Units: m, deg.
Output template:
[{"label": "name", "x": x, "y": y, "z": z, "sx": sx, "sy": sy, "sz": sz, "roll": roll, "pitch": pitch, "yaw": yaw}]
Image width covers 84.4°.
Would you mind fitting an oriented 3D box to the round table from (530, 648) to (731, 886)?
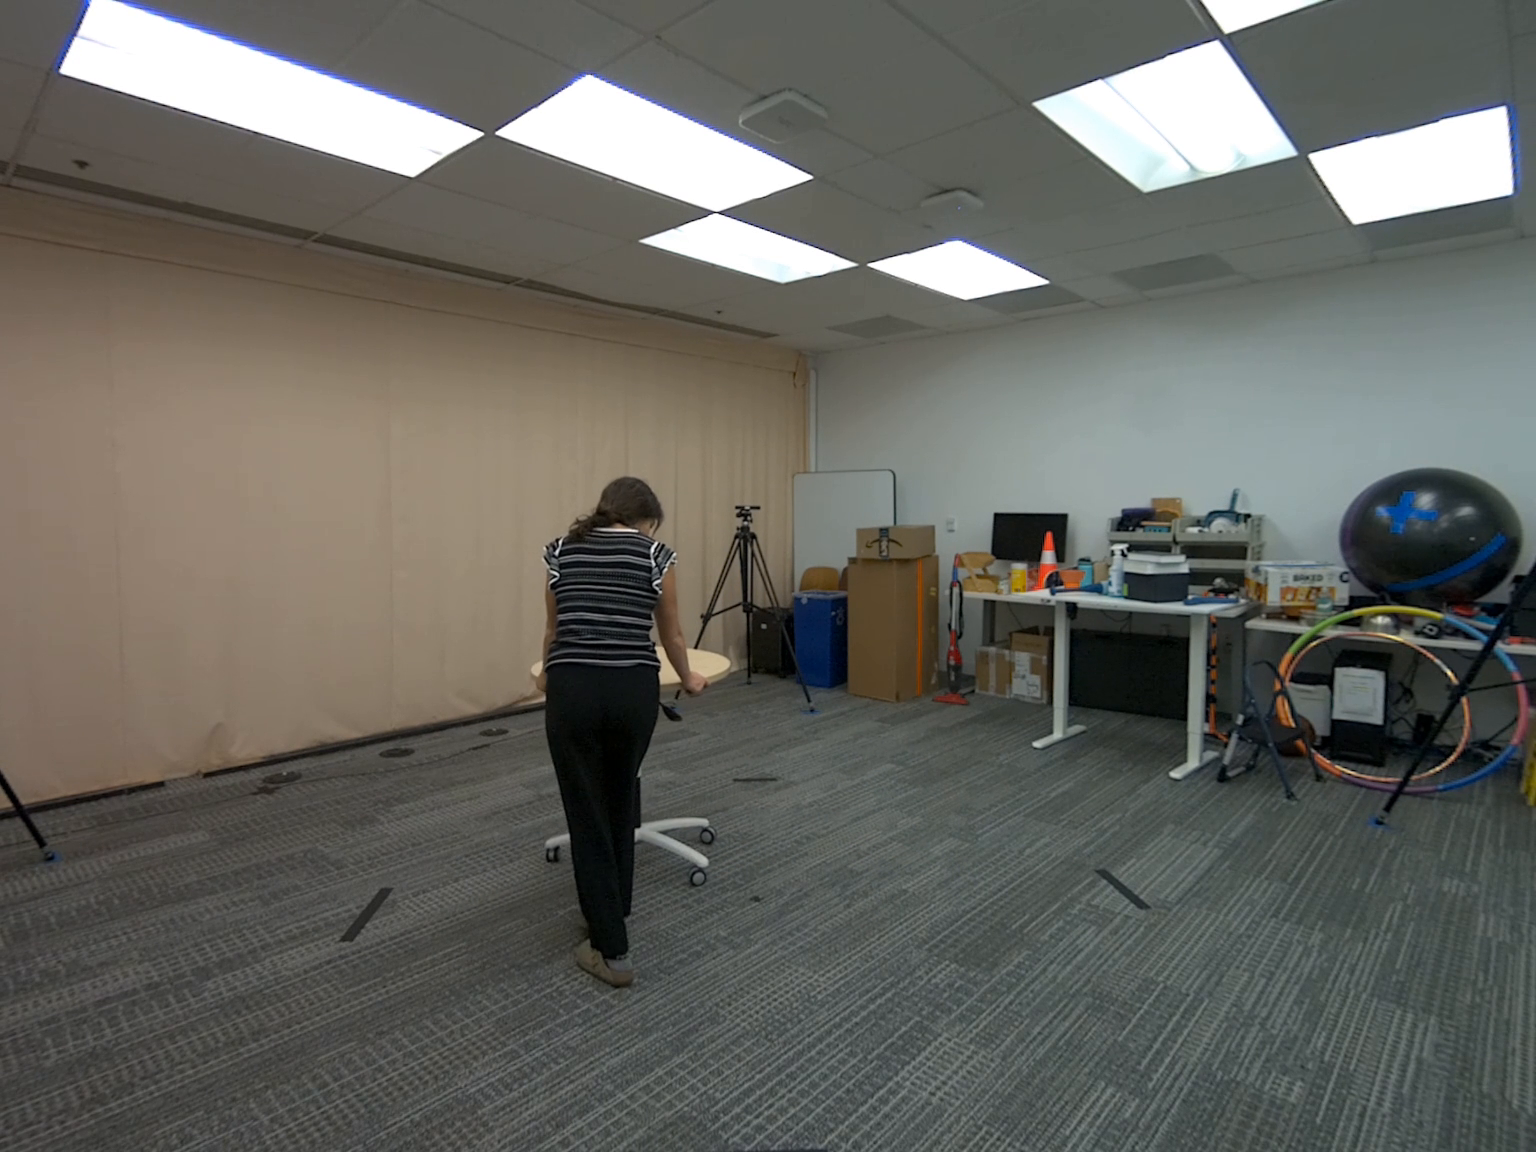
[{"label": "round table", "x": -0.519, "y": 0.734, "z": 3.288, "sx": 0.763, "sy": 0.792, "sz": 0.767, "roll": -1, "pitch": 4, "yaw": -2}]
